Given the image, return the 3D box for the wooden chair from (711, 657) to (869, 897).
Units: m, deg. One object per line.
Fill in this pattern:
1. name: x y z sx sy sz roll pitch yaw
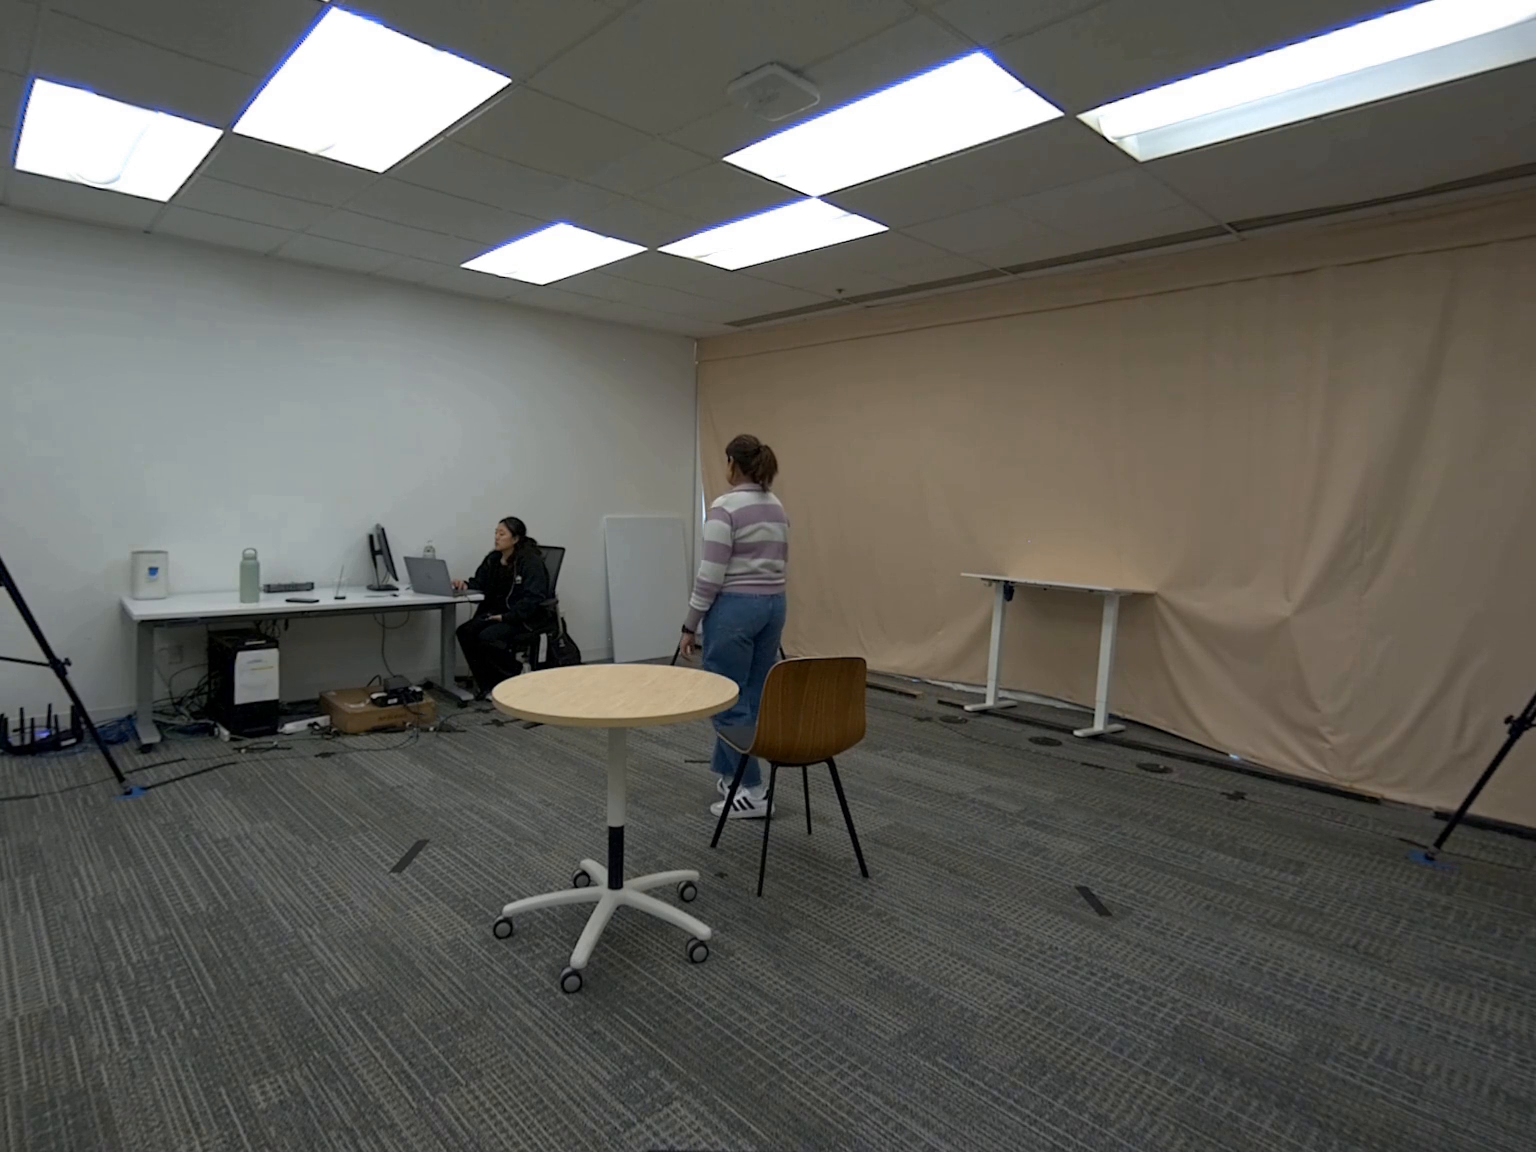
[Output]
1. wooden chair: 0.076 0.671 3.209 0.470 0.873 0.535 0 8 -25
